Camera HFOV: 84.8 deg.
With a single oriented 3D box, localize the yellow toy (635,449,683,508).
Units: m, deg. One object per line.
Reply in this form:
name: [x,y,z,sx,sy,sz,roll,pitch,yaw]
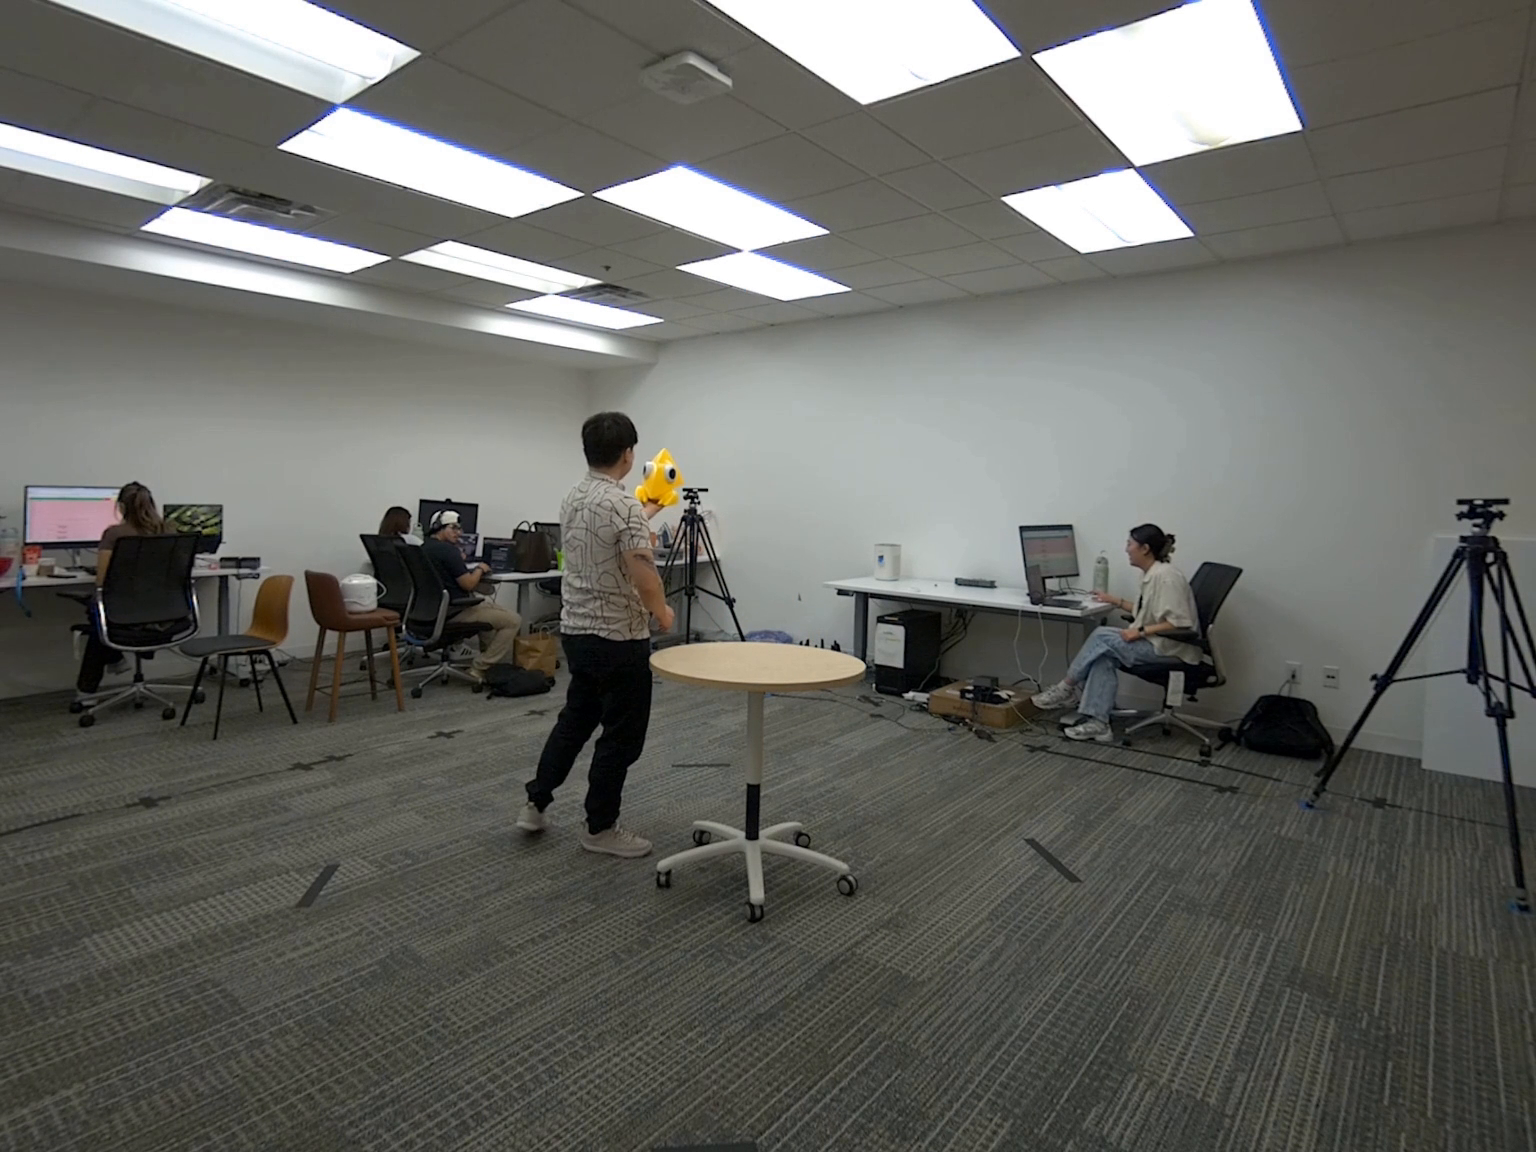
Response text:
yellow toy: [-0.506,-0.457,3.804,0.207,0.228,0.193,10,15,8]
